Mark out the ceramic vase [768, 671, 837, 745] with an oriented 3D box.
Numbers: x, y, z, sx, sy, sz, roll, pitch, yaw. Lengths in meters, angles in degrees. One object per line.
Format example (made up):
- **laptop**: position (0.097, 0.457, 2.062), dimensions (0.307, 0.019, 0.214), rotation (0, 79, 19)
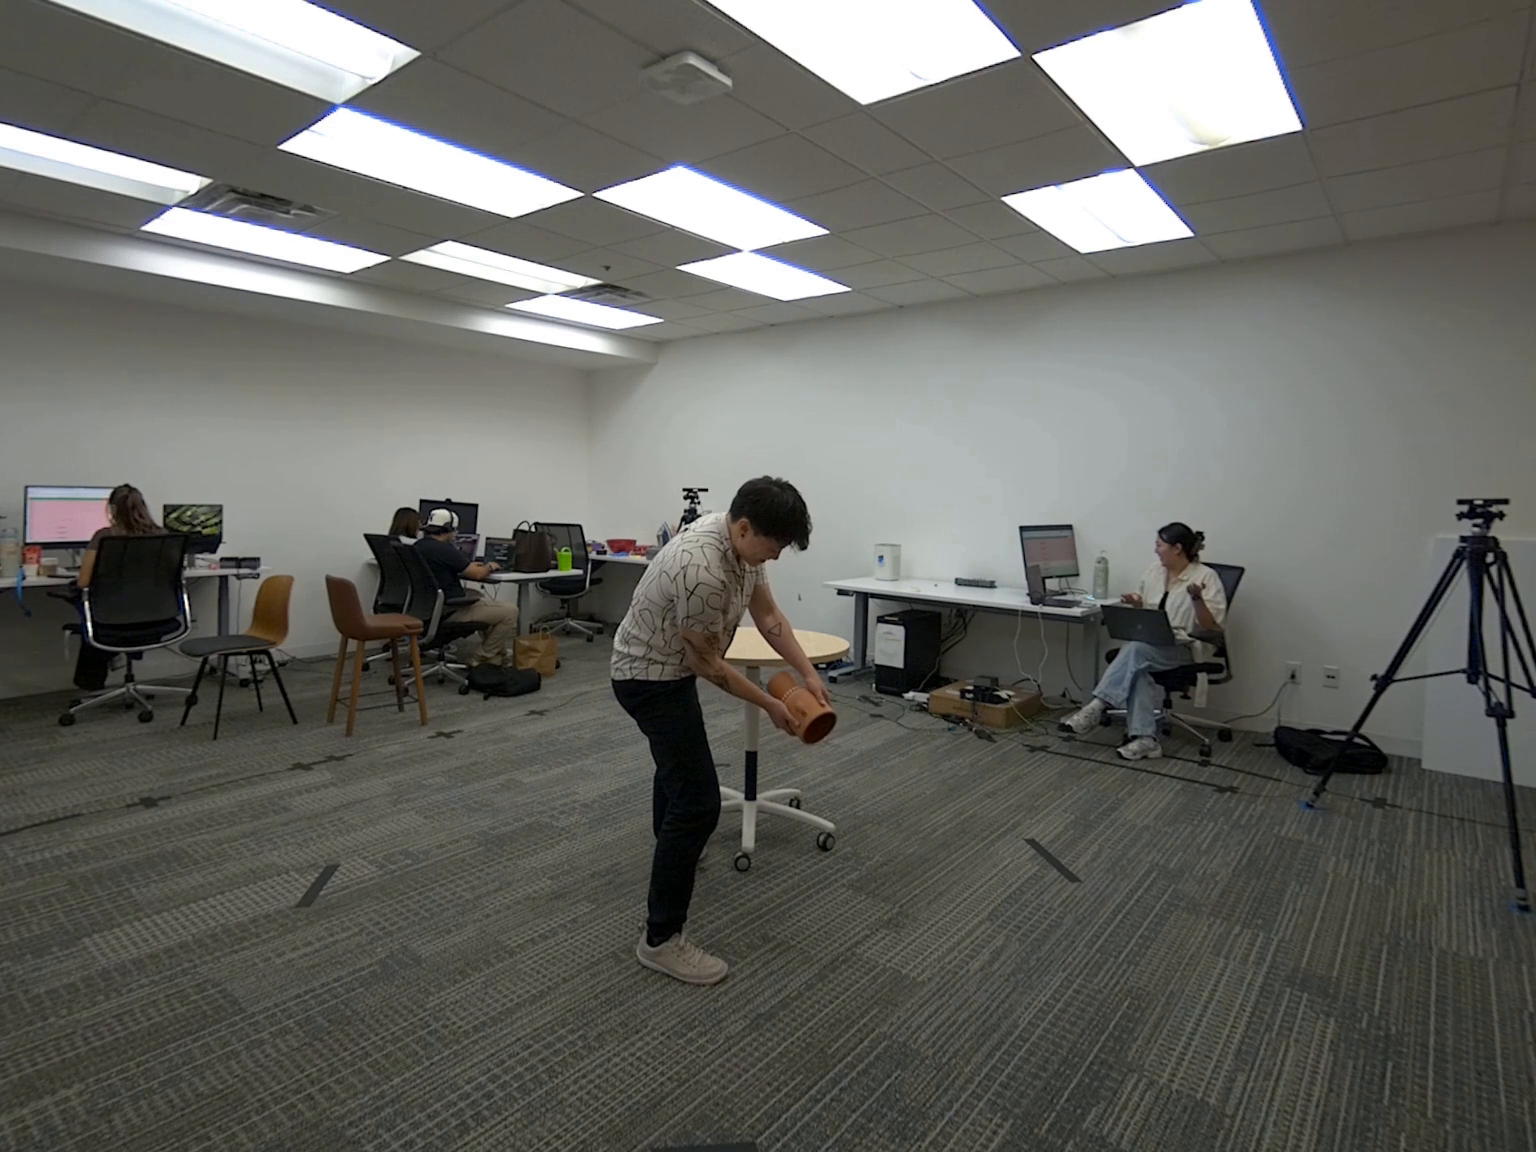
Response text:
- **ceramic vase**: position (0.092, 0.397, 2.623), dimensions (0.132, 0.155, 0.229), rotation (-20, 43, -31)
